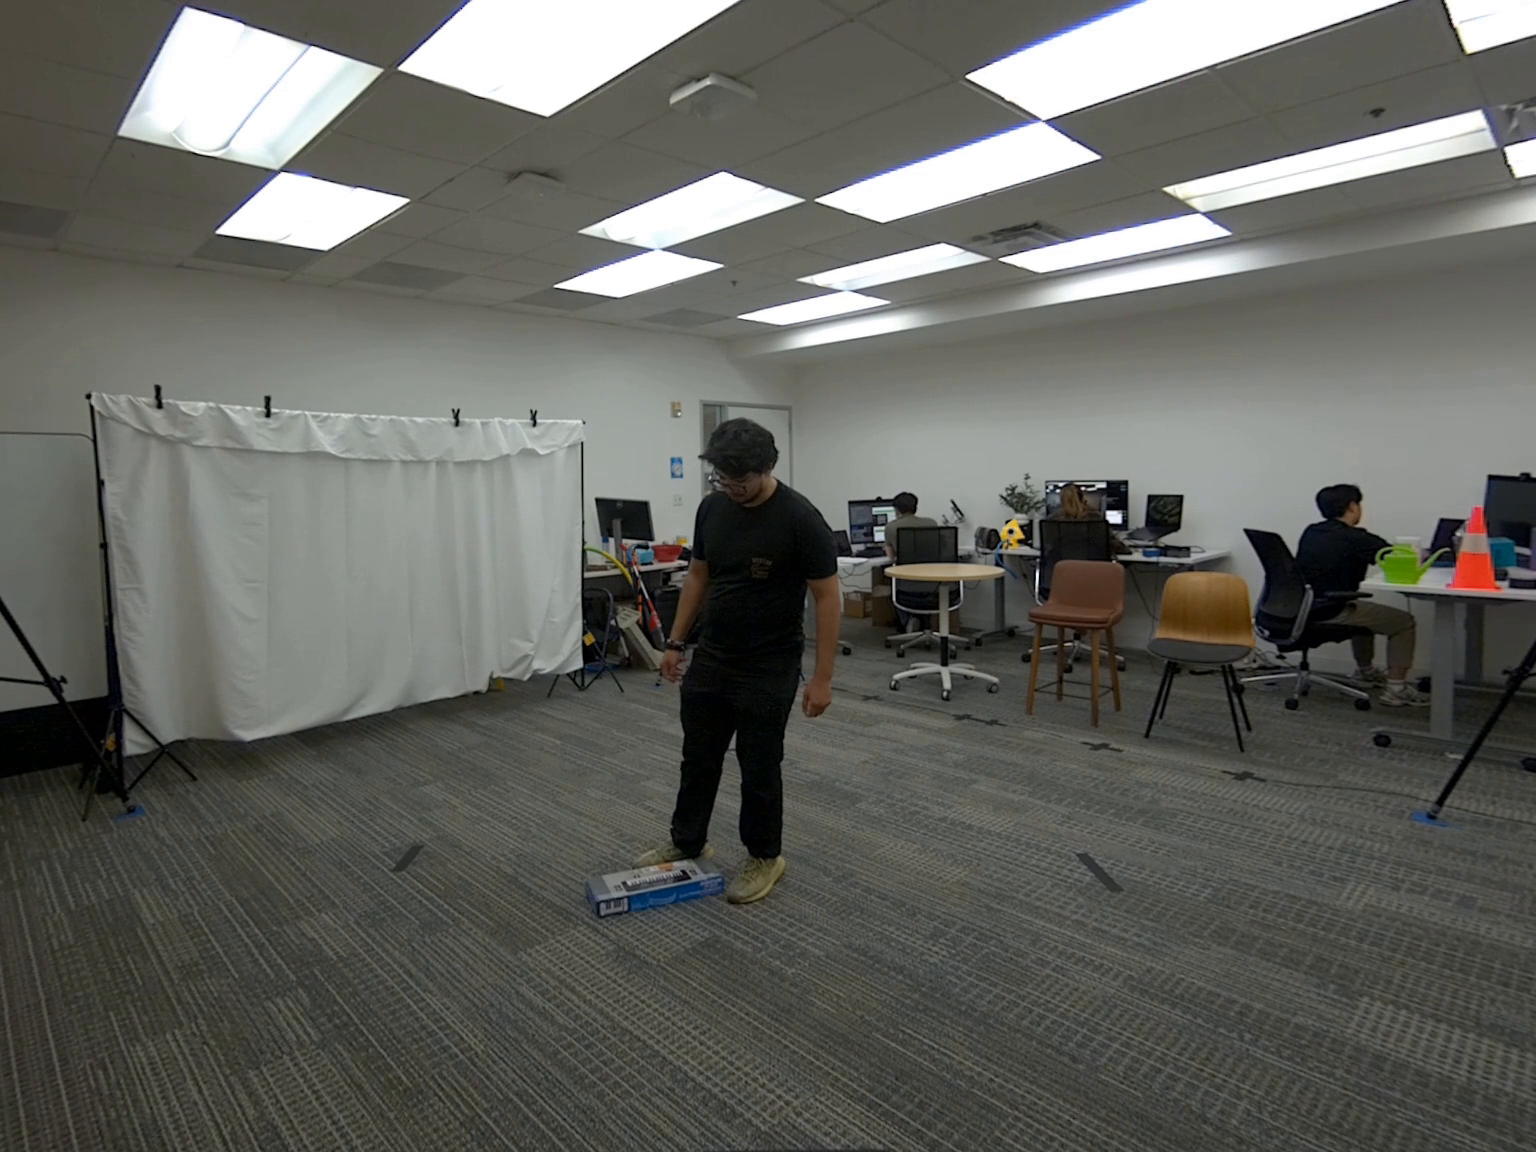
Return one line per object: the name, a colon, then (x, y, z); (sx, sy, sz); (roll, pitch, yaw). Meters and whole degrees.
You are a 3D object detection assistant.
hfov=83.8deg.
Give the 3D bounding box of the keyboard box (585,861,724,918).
keyboard box: (-0.380, 1.047, 2.897); (0.429, 0.059, 0.180); (-3, 6, -22)
